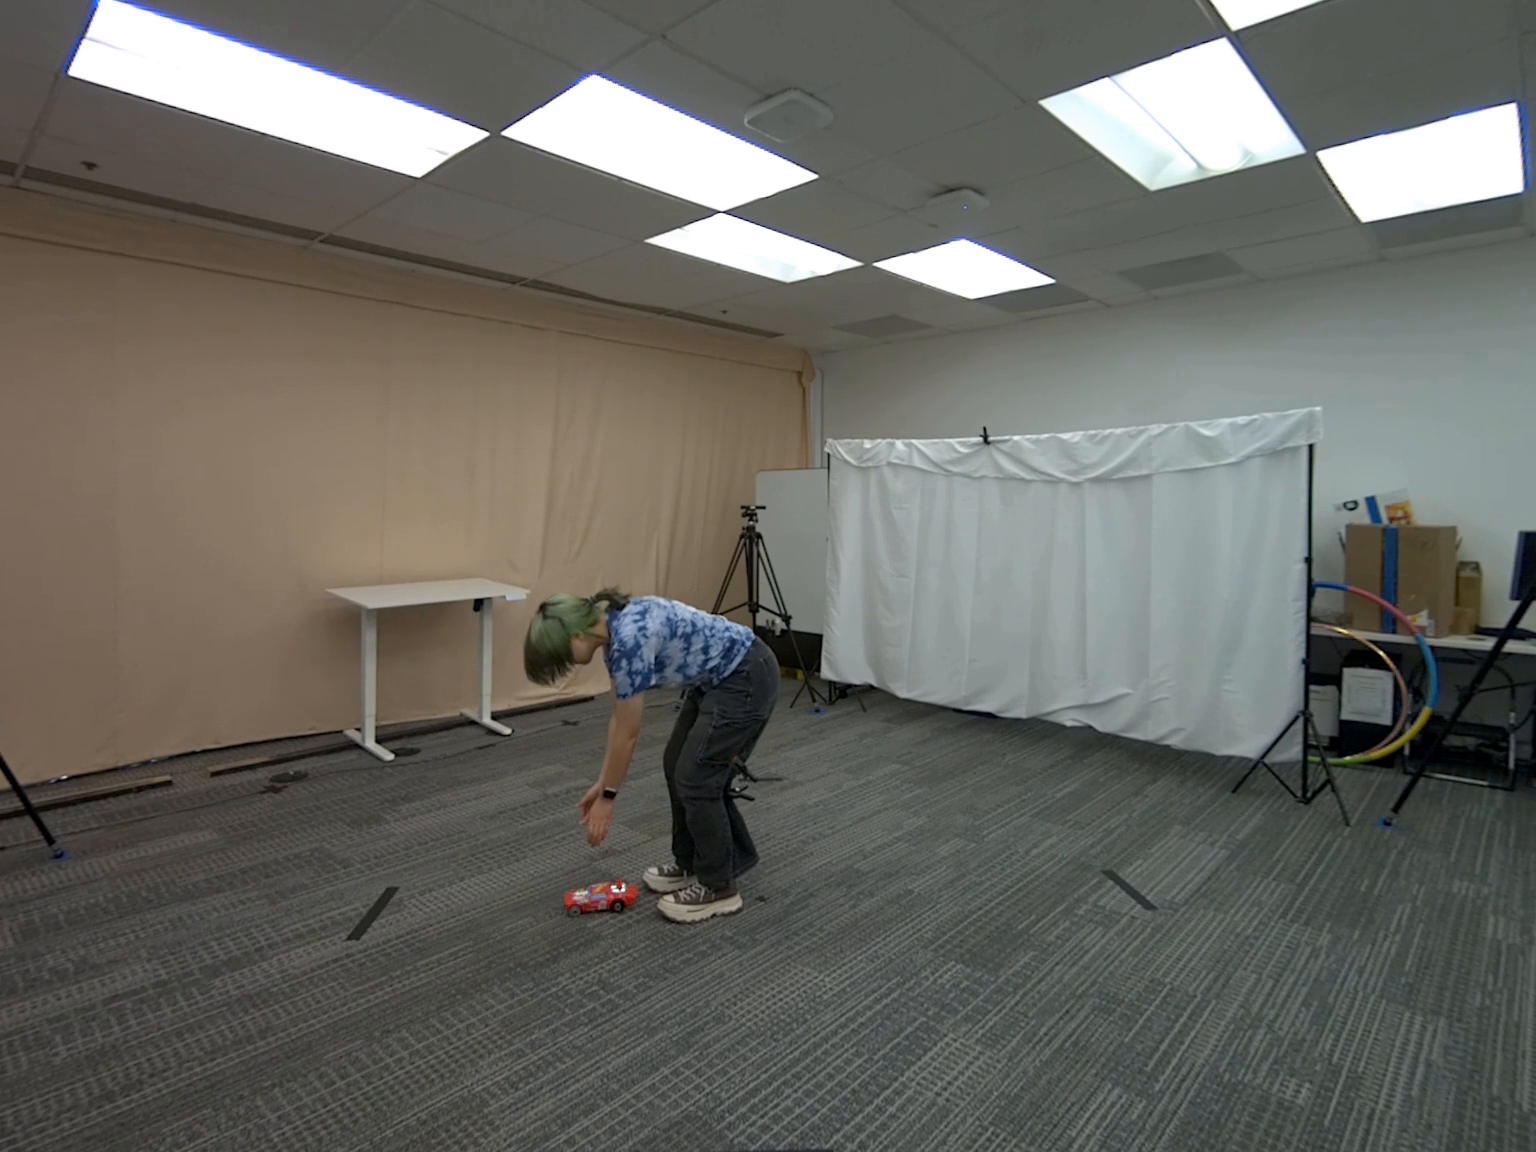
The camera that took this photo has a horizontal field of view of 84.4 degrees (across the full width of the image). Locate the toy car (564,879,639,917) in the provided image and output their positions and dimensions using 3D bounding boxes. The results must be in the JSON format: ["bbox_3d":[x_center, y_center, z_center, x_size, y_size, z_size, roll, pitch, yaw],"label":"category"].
[{"bbox_3d":[-0.577,1.123,2.929,0.252,0.083,0.132,-12,5,-9],"label":"toy car"}]
